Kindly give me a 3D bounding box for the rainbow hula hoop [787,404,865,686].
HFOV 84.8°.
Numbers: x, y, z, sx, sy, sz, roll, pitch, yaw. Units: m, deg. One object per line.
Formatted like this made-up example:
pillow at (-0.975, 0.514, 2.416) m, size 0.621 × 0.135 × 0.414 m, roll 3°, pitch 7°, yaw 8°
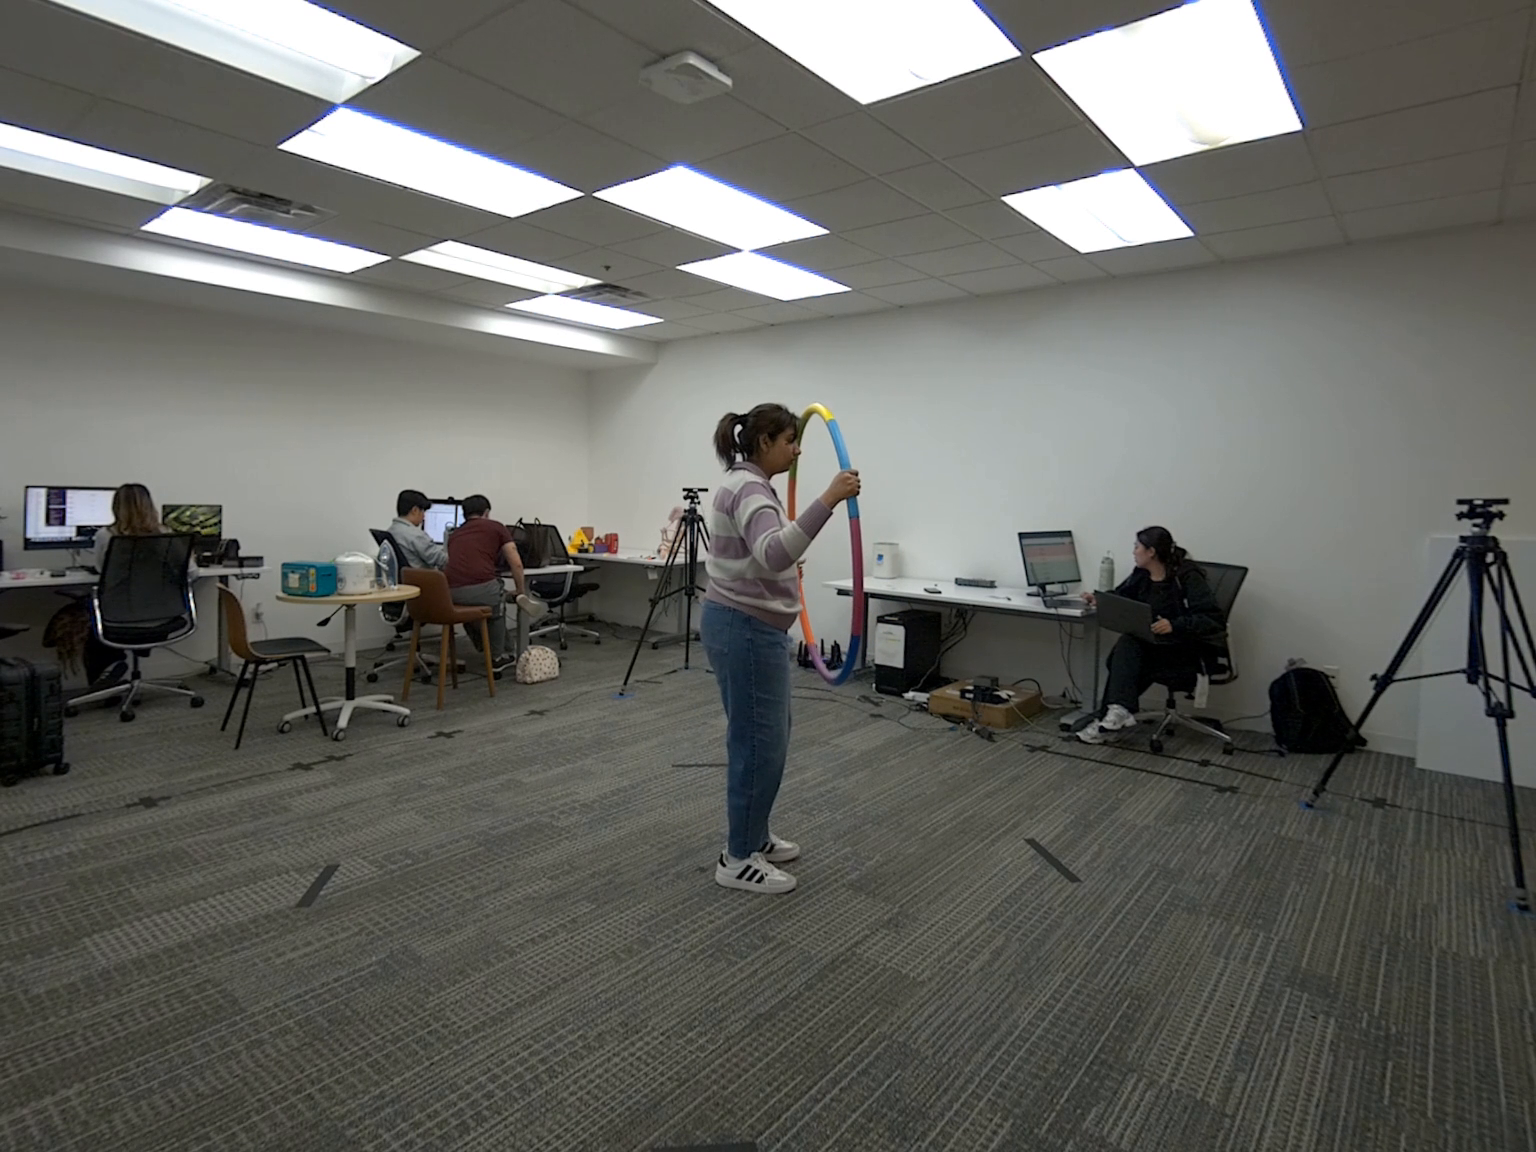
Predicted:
rainbow hula hoop at (0.173, -0.118, 3.016) m, size 0.035 × 0.975 × 0.988 m, roll -6°, pitch 5°, yaw -7°
